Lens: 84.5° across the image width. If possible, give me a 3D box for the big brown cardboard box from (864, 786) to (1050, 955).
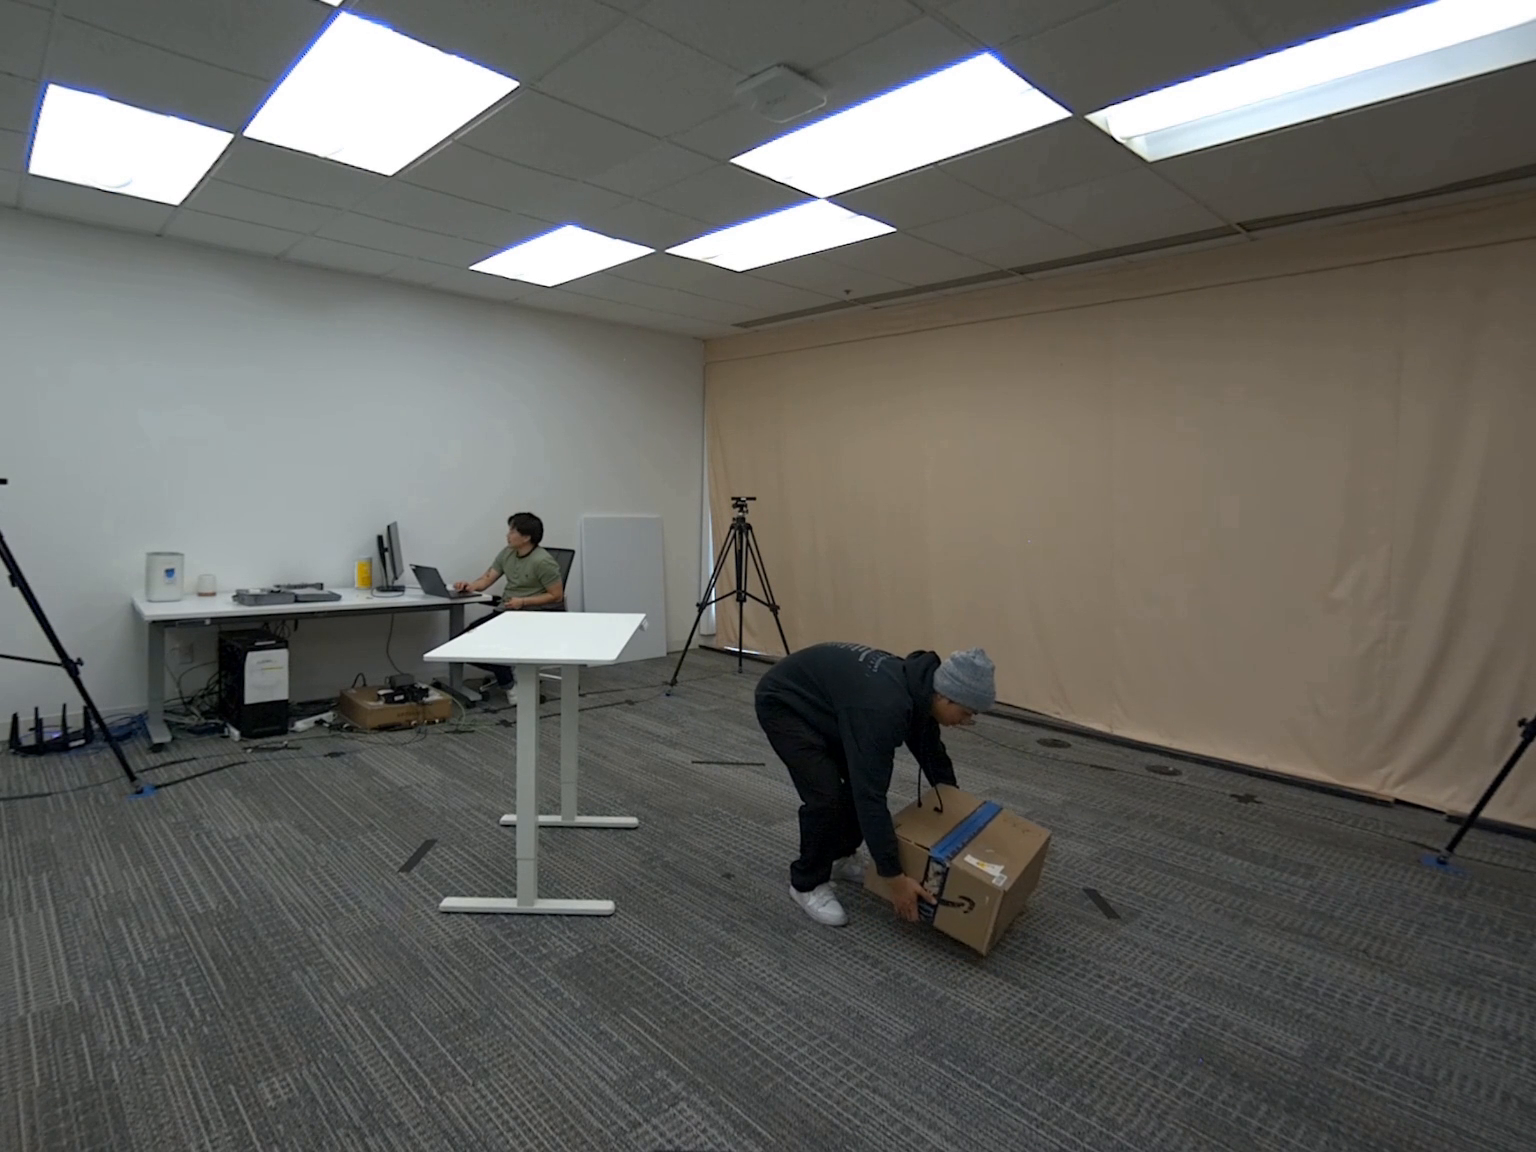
[{"bbox_3d":[0.633,0.938,2.786,0.428,0.232,0.577,18,12,30],"label":"big brown cardboard box"}]
